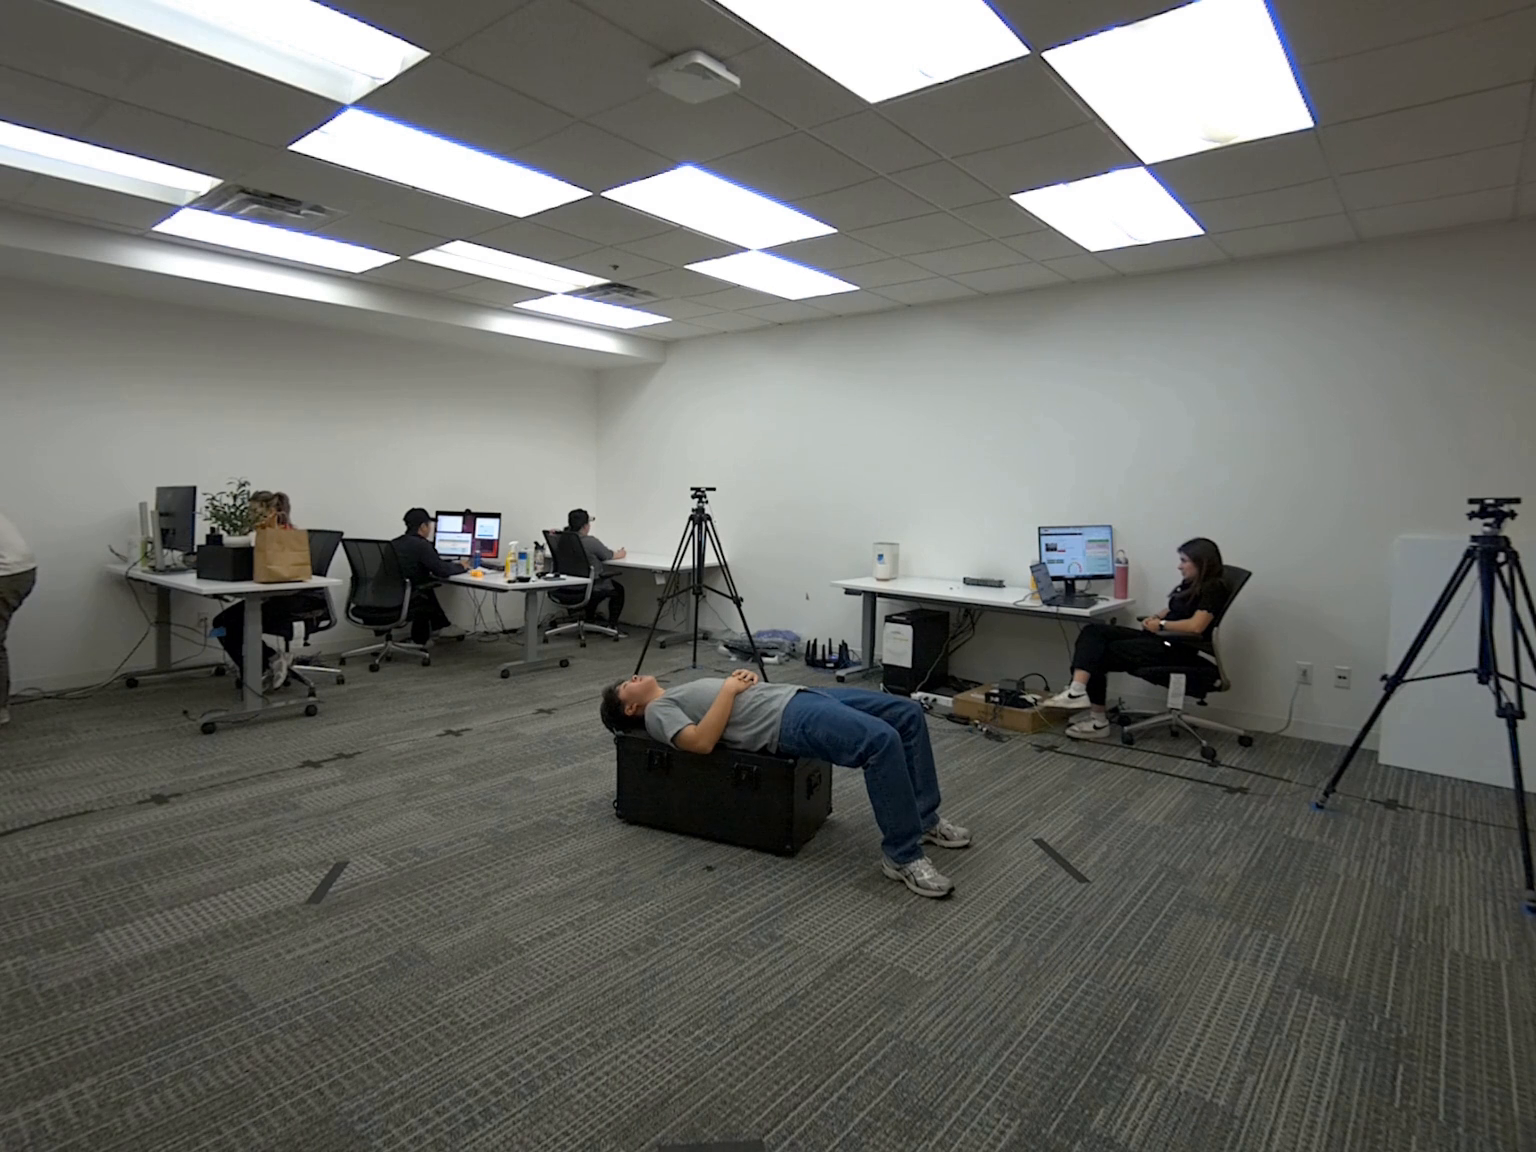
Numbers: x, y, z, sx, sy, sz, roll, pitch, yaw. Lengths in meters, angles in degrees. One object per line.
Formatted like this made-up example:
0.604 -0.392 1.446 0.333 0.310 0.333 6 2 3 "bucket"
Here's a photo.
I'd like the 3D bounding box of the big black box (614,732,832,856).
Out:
-0.213 0.838 3.573 0.883 0.394 0.510 3 6 24 "big black box"
